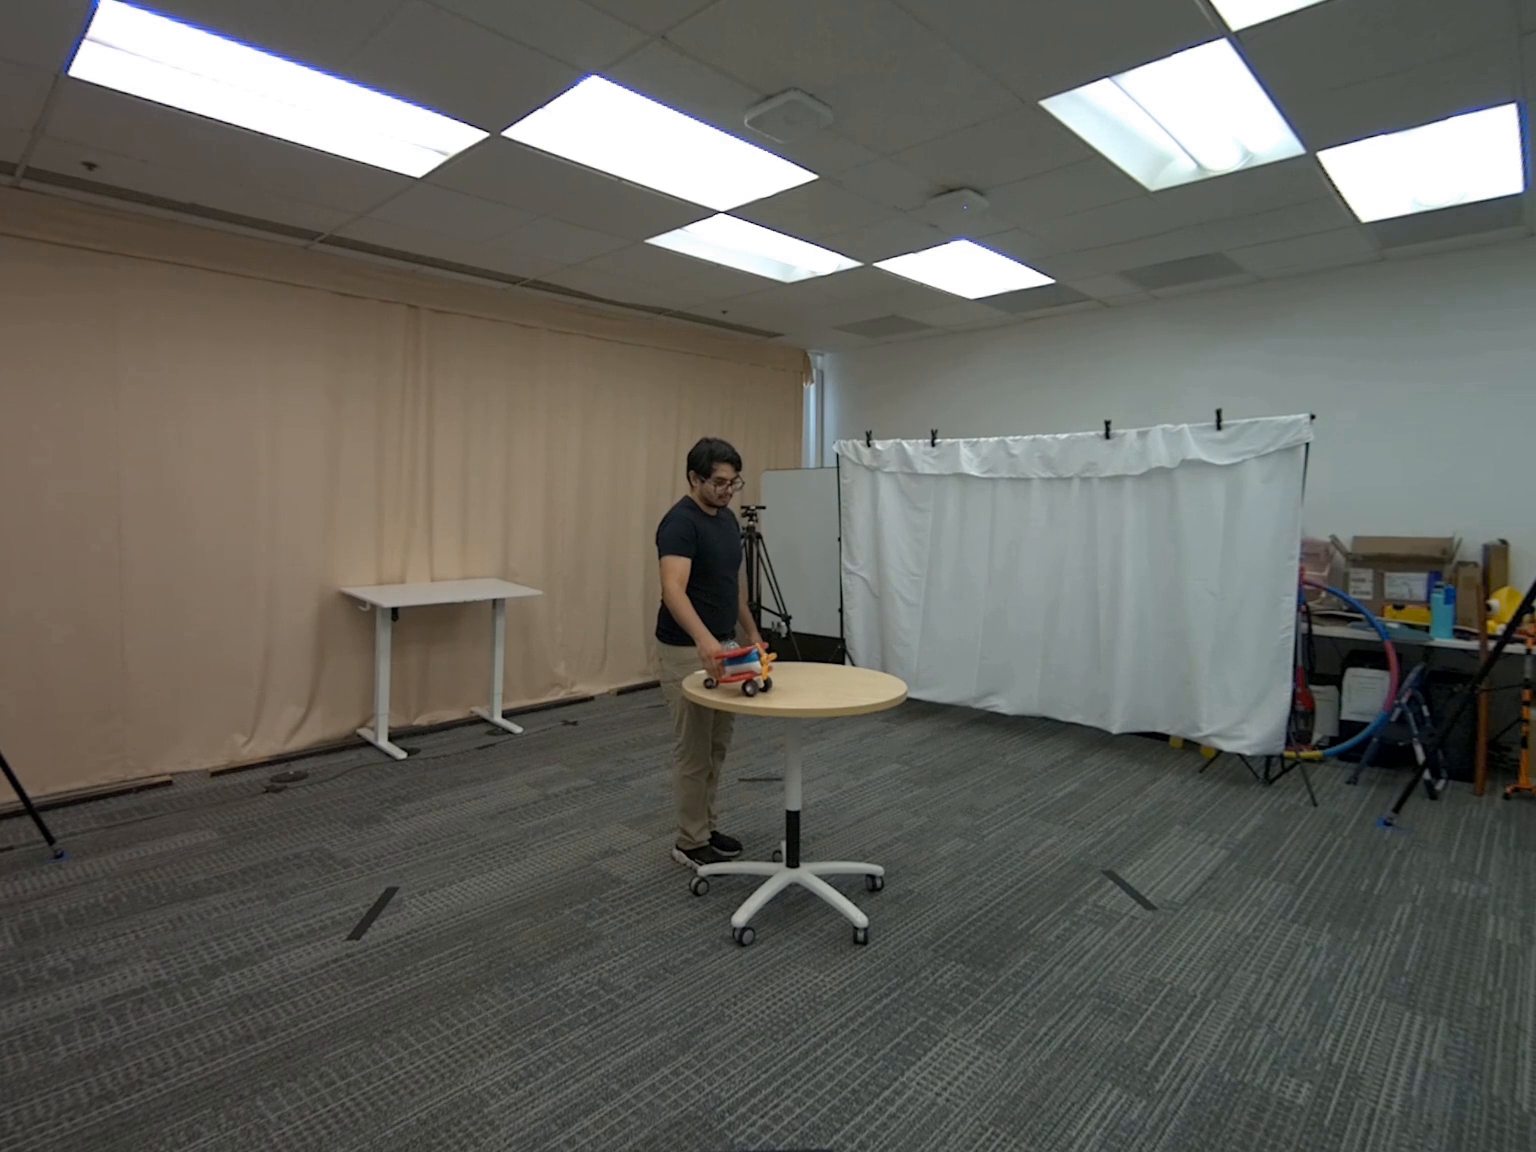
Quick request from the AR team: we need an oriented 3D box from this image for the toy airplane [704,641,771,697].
[{"bbox_3d":[-0.106,0.303,2.731,0.260,0.156,0.251,1,4,2],"label":"toy airplane"}]
